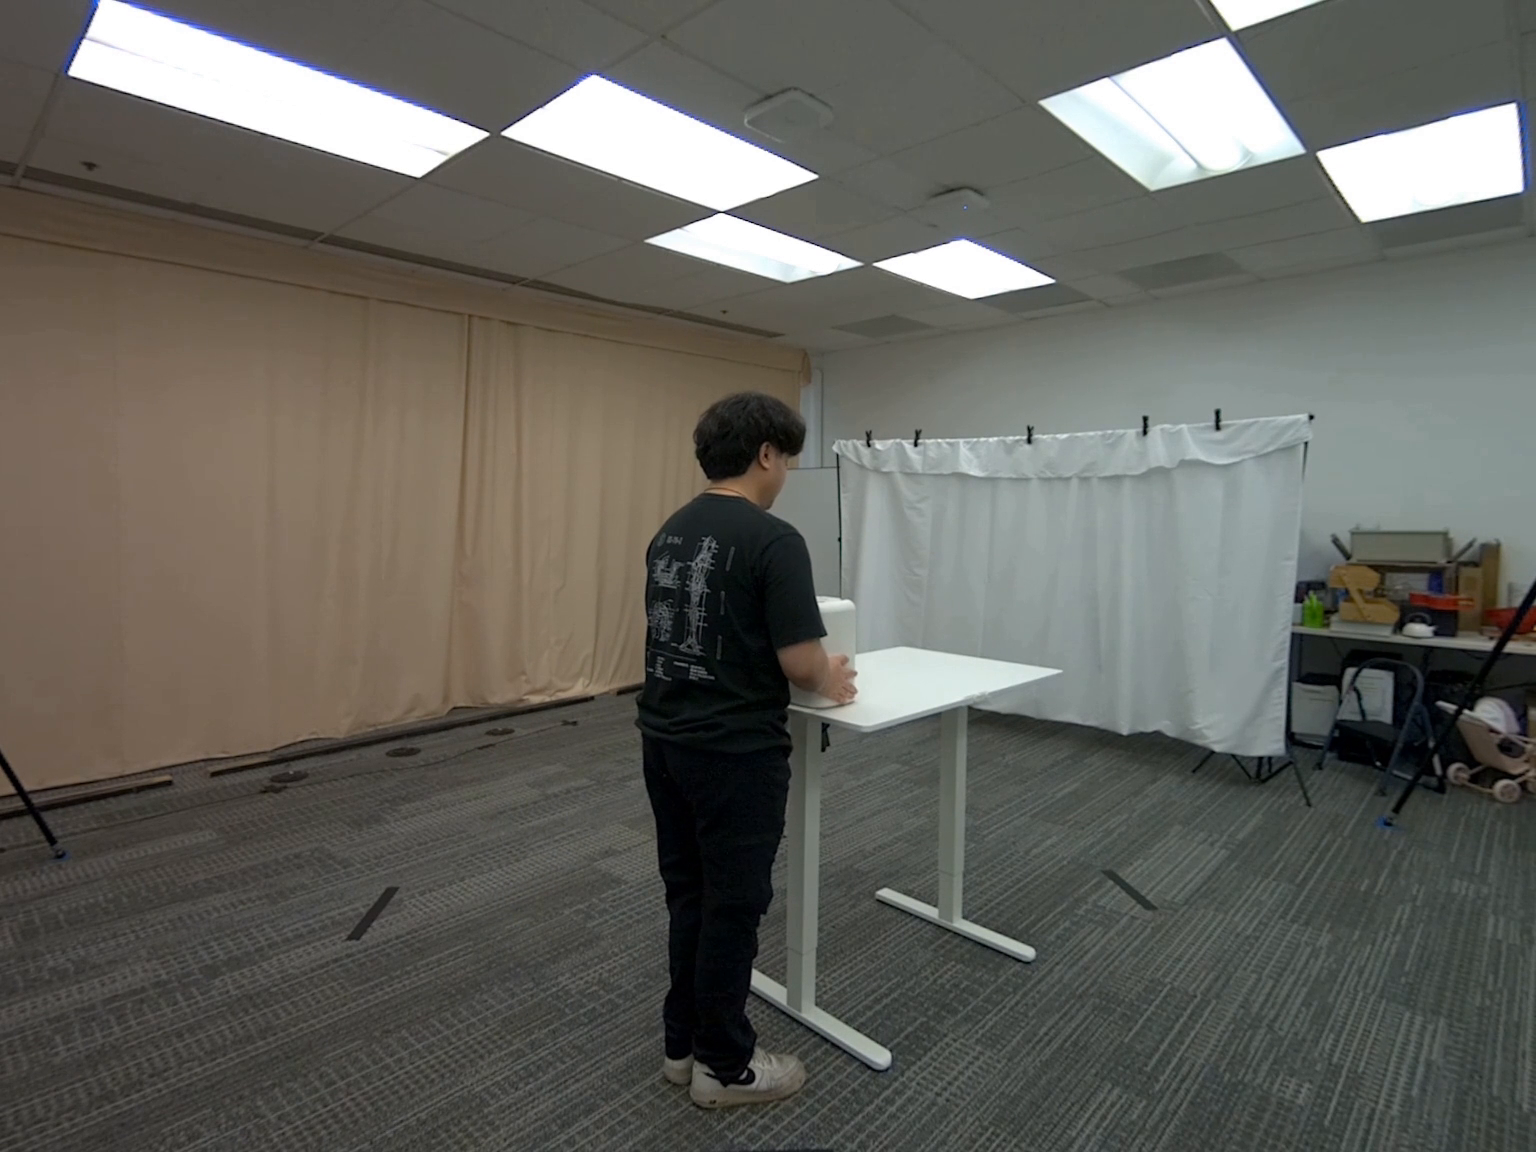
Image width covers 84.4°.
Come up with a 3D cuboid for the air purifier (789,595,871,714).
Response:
[{"bbox_3d":[0.135,0.192,2.170,0.166,0.265,0.177,-1,3,-42],"label":"air purifier"}]
